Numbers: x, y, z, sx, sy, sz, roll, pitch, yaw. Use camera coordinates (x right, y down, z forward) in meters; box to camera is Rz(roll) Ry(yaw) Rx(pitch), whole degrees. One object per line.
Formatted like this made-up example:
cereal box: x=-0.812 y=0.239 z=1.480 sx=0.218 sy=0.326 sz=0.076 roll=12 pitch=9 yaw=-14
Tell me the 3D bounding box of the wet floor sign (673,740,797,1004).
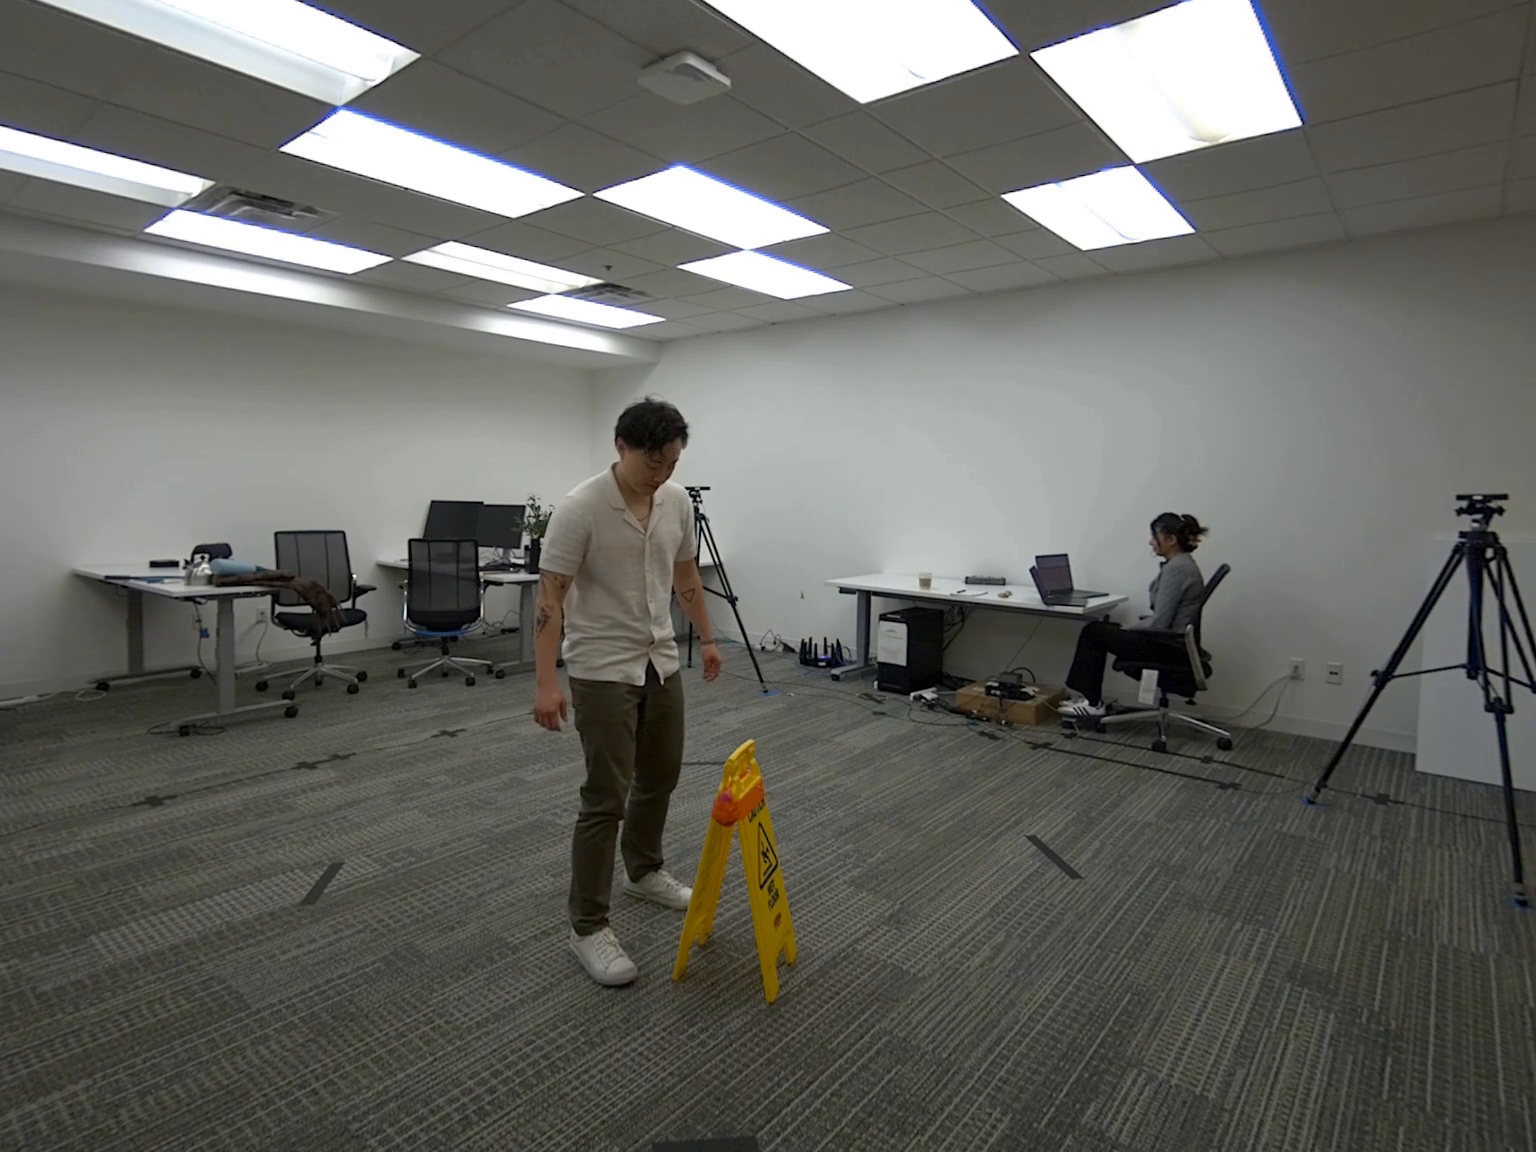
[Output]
wet floor sign: x=-0.089 y=0.811 z=2.448 sx=0.296 sy=0.643 sz=0.277 roll=3 pitch=4 yaw=18
